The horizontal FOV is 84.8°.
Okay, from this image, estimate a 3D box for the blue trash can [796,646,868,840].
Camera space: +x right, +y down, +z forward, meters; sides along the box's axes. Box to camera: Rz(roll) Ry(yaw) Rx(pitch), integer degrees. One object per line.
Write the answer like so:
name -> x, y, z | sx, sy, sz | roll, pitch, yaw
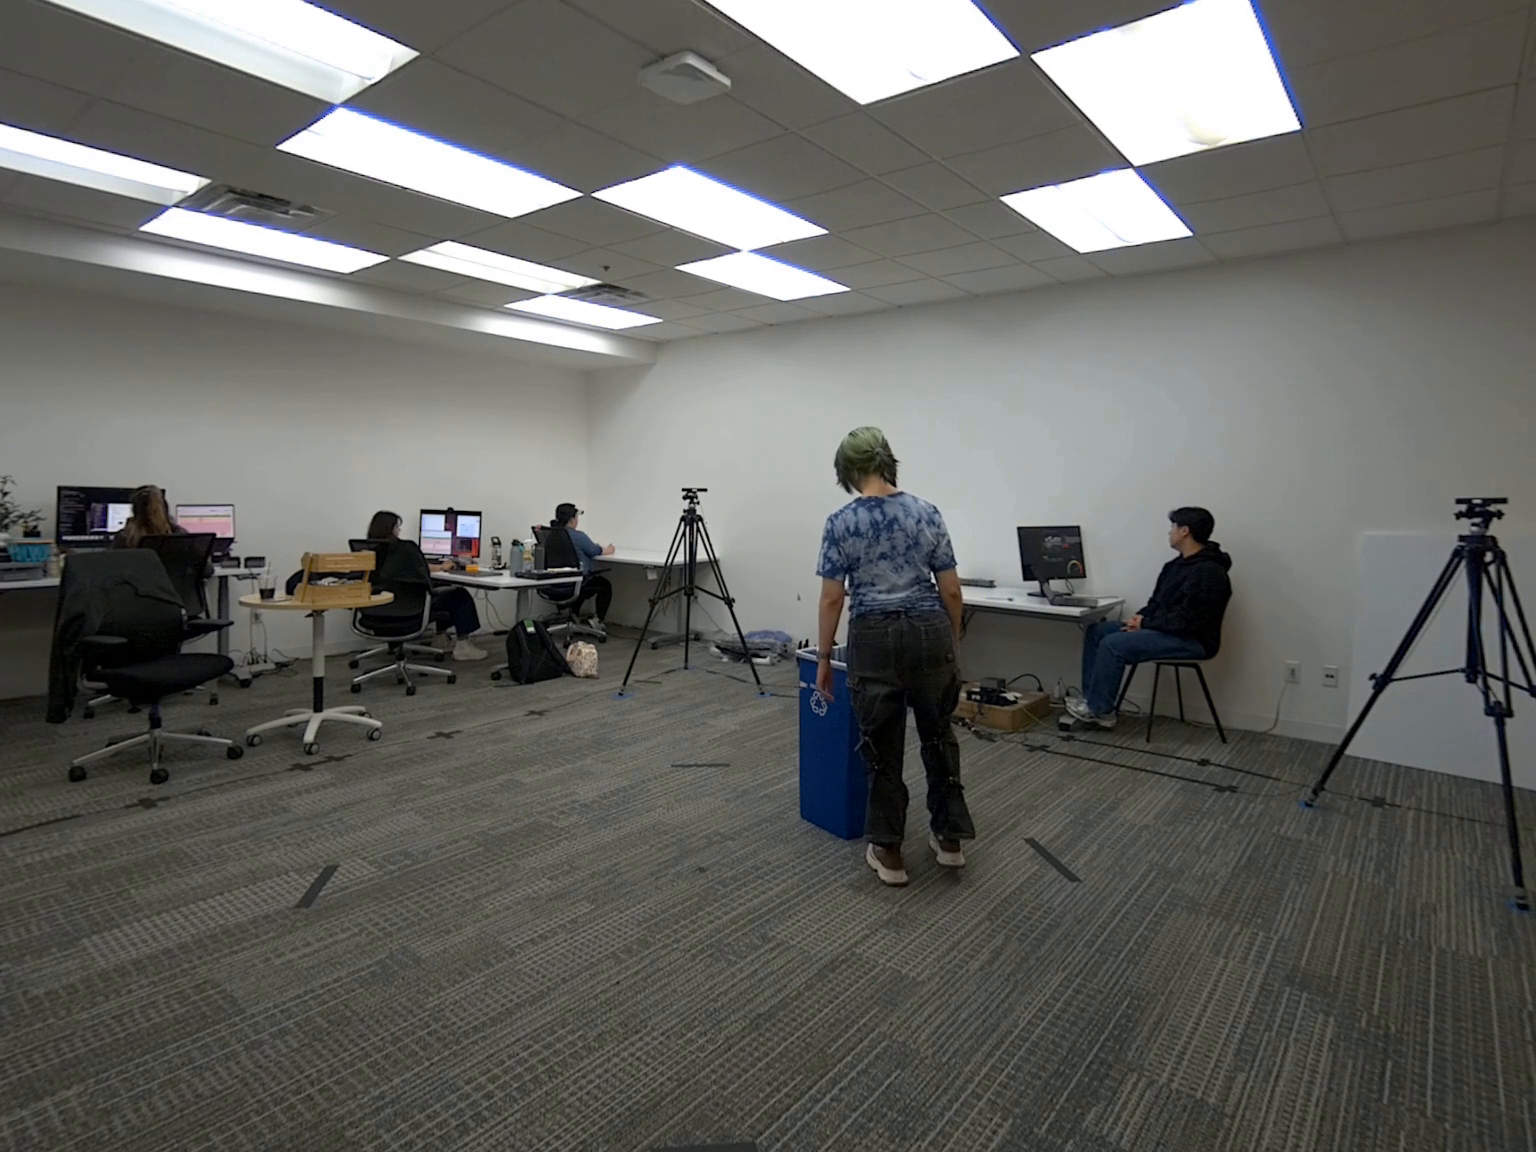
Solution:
blue trash can -> 0.351, 0.678, 3.573 | 0.367, 0.711, 0.386 | -1, 4, -37
